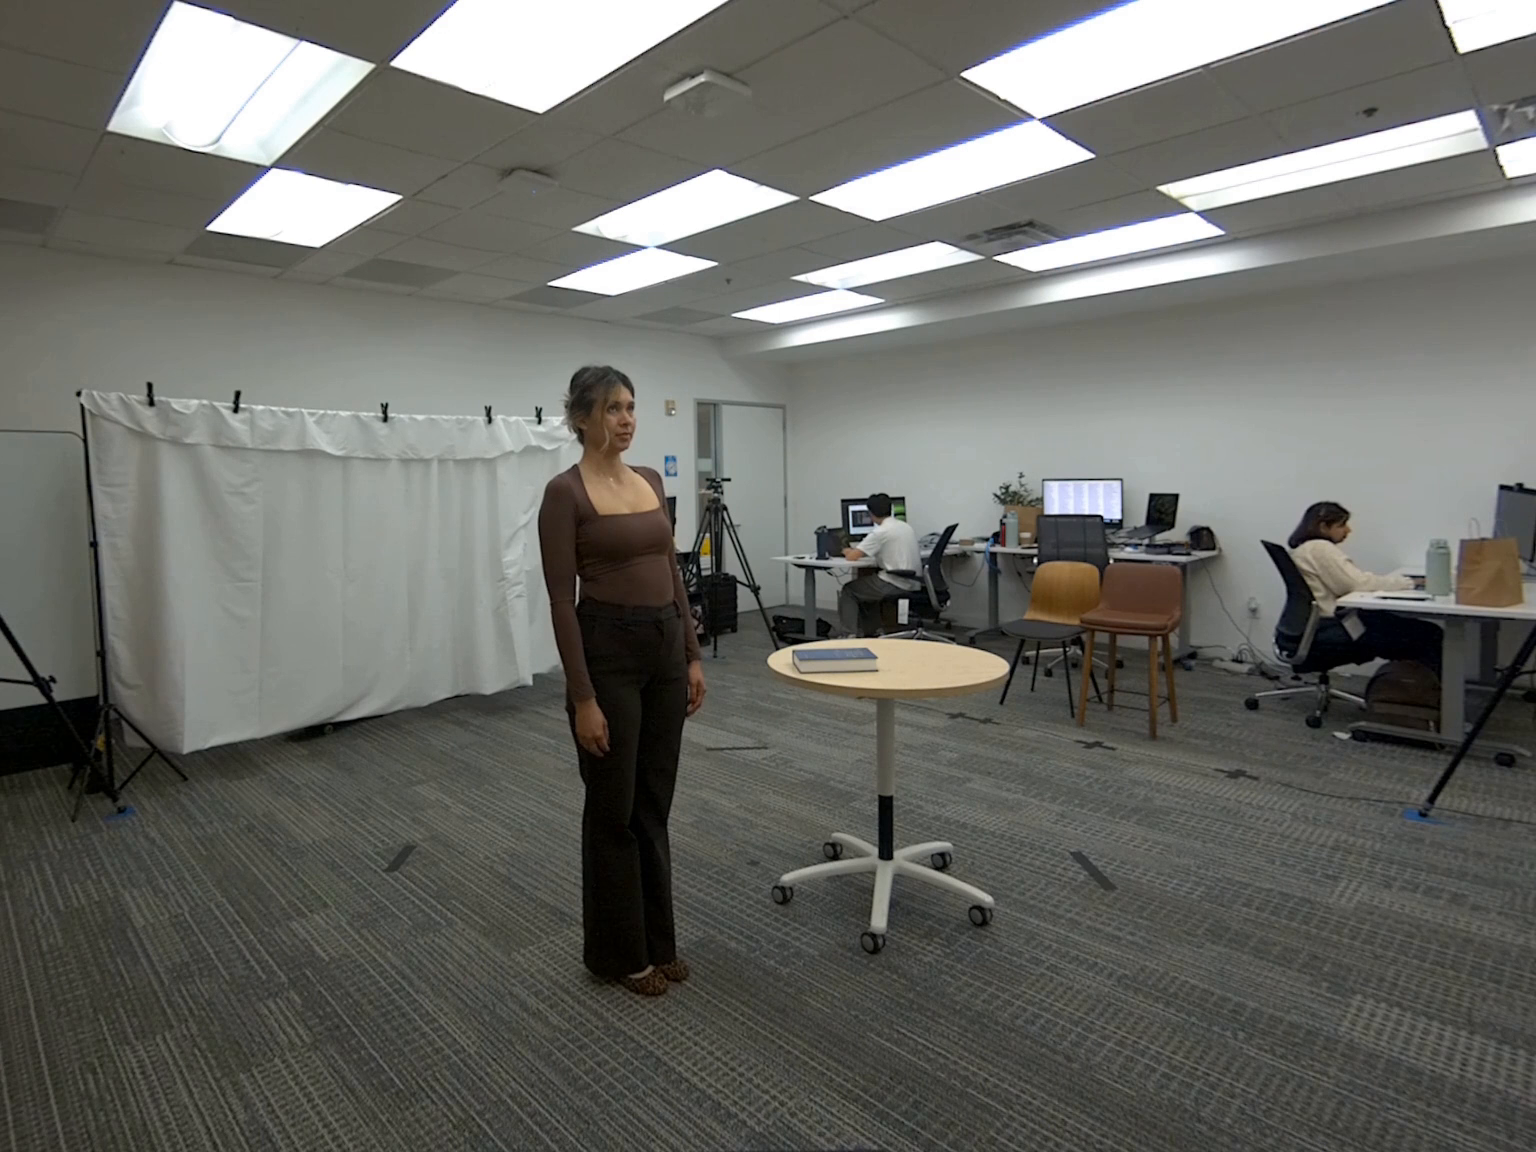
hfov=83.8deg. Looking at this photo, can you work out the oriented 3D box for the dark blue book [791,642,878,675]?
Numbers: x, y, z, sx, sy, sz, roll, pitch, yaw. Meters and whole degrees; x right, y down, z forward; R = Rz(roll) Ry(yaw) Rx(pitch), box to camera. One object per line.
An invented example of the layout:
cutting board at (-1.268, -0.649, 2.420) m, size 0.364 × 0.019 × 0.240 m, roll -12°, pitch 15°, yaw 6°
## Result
dark blue book at (0.217, 0.266, 2.686) m, size 0.244 × 0.045 × 0.165 m, roll -1°, pitch 6°, yaw -4°
